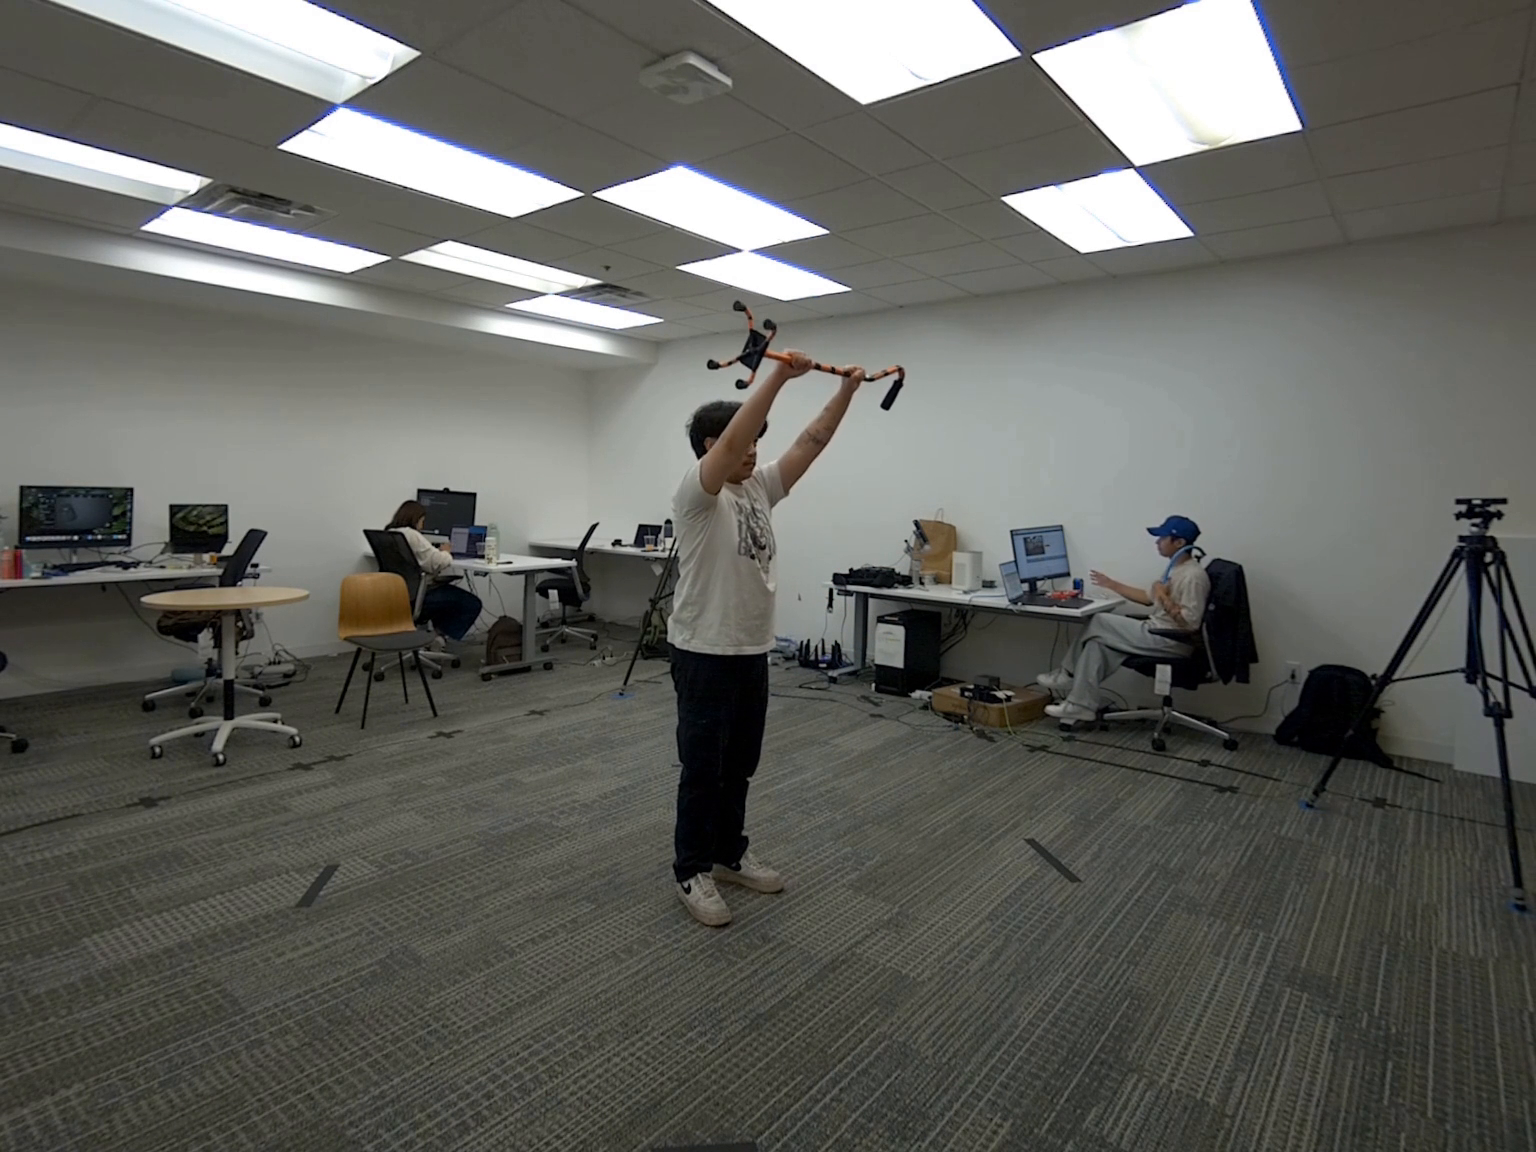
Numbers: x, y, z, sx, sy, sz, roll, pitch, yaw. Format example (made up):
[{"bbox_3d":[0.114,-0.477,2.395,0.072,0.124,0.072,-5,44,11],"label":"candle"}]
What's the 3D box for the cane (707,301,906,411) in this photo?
[{"bbox_3d":[0.175,-0.657,2.671,0.157,0.205,0.881,40,26,29],"label":"cane"}]
